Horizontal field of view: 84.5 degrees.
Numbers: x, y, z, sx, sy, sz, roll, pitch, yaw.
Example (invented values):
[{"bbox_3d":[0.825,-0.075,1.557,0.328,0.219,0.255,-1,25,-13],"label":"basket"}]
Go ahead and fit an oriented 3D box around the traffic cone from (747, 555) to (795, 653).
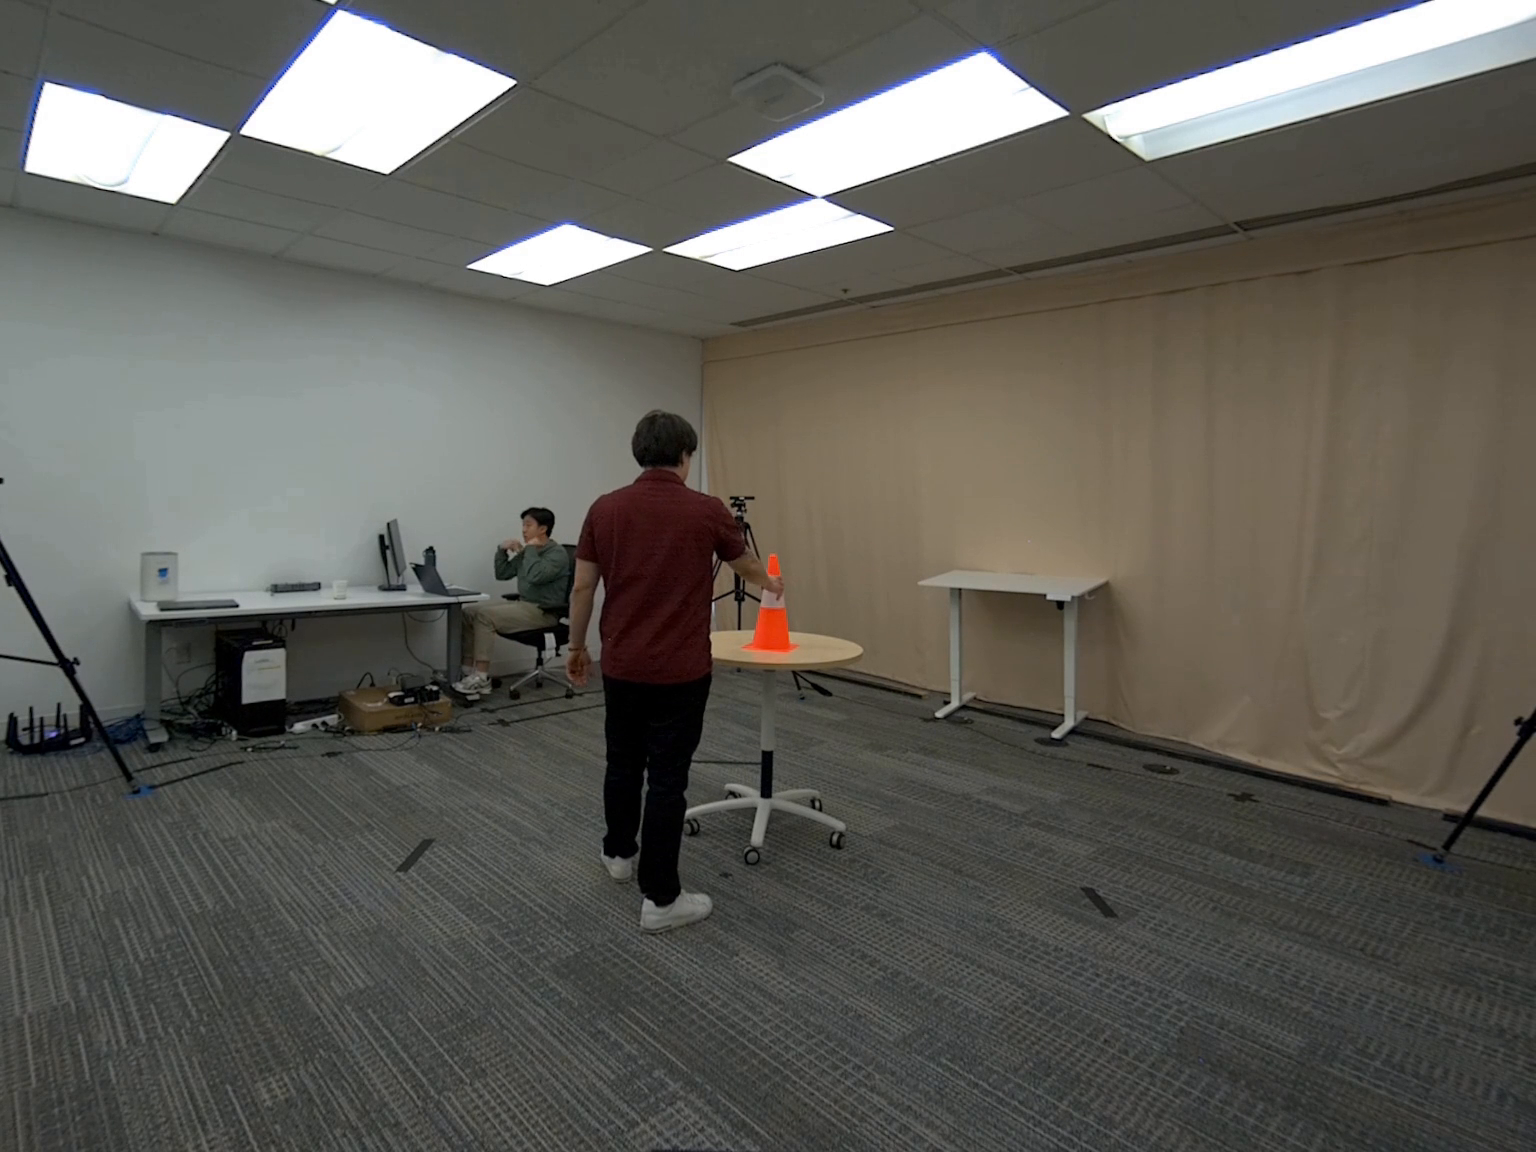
[{"bbox_3d":[0.016,0.105,3.456,0.207,0.382,0.202,4,4,23],"label":"traffic cone"}]
